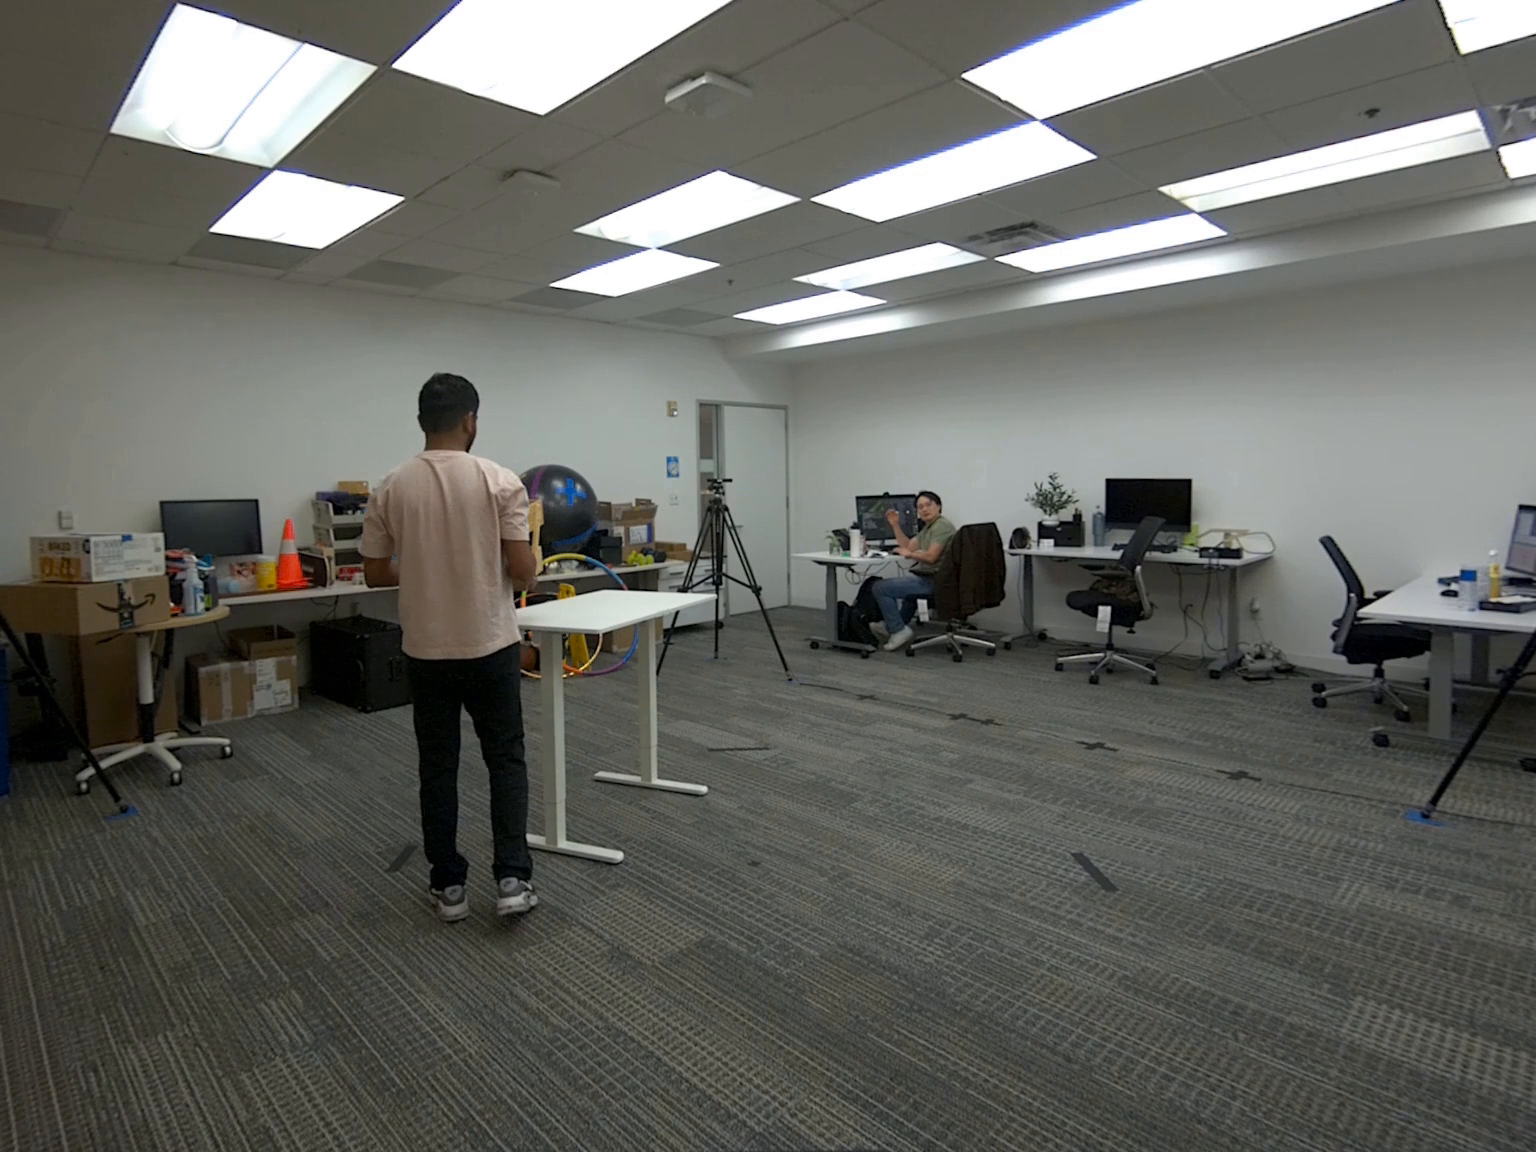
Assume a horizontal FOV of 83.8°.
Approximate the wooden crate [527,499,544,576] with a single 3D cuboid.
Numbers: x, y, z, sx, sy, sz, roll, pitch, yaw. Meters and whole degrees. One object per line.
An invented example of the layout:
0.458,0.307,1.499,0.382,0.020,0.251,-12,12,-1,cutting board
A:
-0.996,-0.127,3.089,0.326,0.270,0.304,0,13,5,wooden crate
